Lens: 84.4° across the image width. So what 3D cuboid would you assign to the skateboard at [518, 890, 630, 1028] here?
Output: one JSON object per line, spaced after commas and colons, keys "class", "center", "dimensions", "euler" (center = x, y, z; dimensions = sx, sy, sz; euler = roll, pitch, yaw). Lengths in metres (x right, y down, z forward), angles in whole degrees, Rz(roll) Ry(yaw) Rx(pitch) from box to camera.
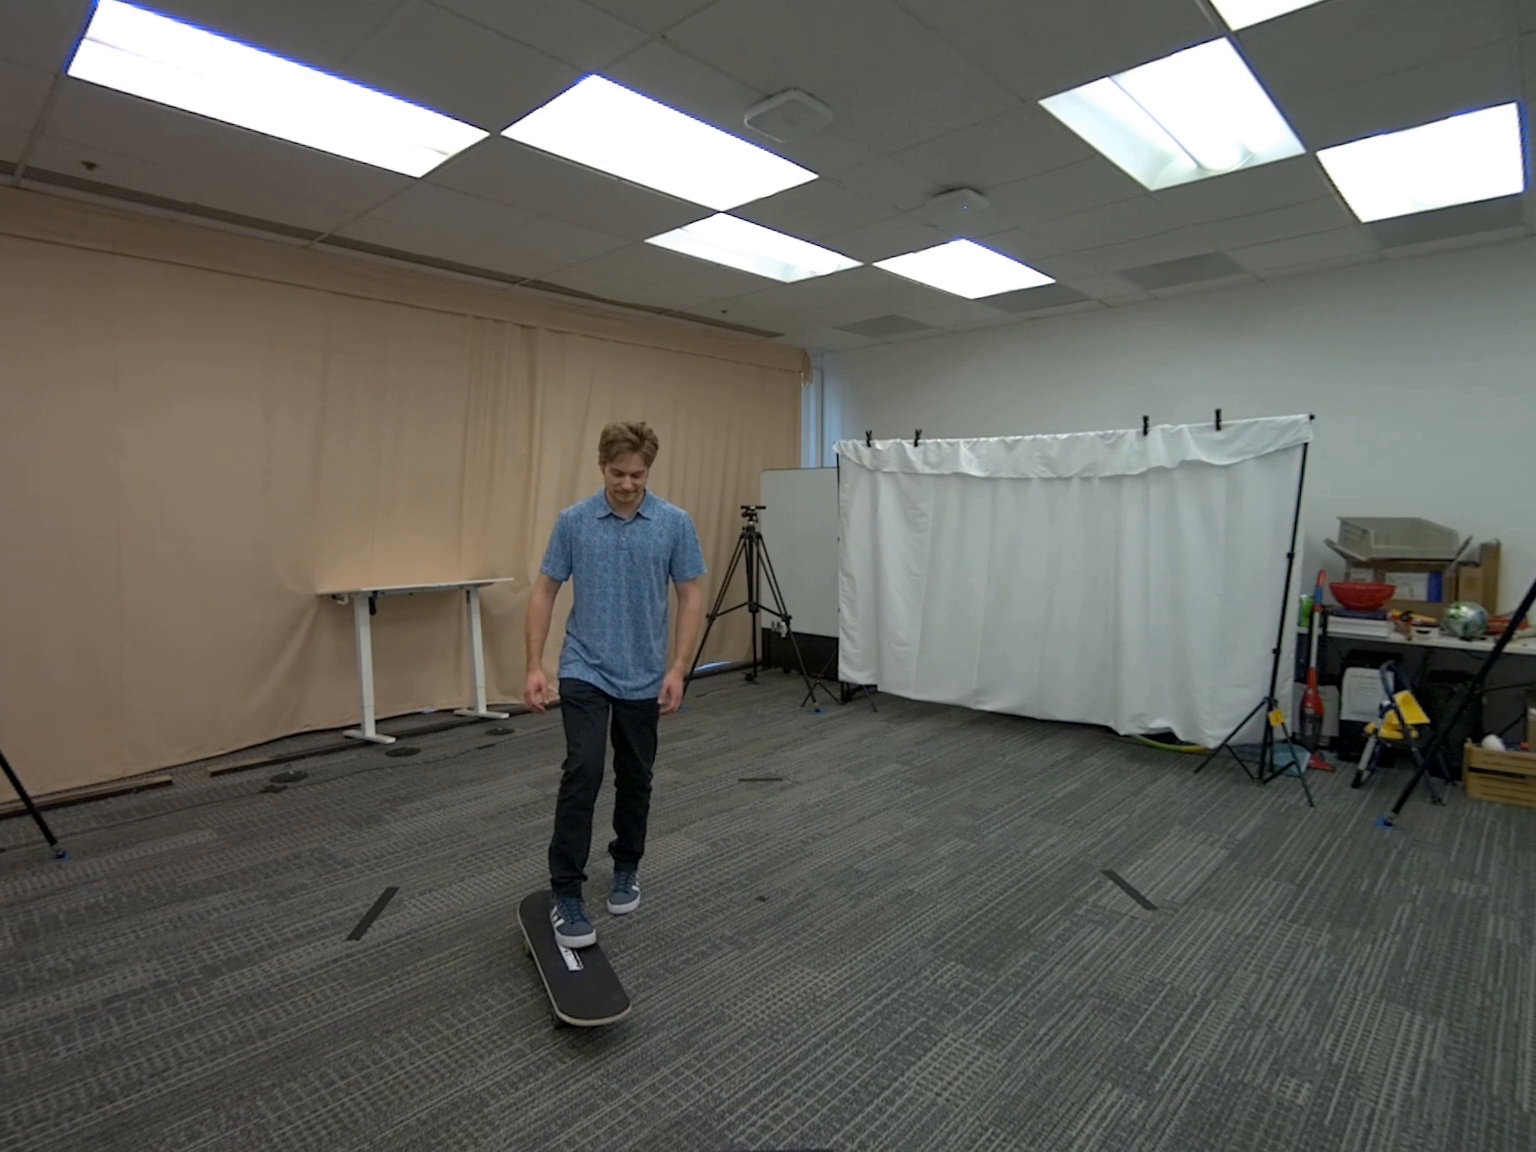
{"class": "skateboard", "center": [-0.582, 1.132, 2.469], "dimensions": [0.189, 0.110, 0.806], "euler": [-1, 4, -26]}
